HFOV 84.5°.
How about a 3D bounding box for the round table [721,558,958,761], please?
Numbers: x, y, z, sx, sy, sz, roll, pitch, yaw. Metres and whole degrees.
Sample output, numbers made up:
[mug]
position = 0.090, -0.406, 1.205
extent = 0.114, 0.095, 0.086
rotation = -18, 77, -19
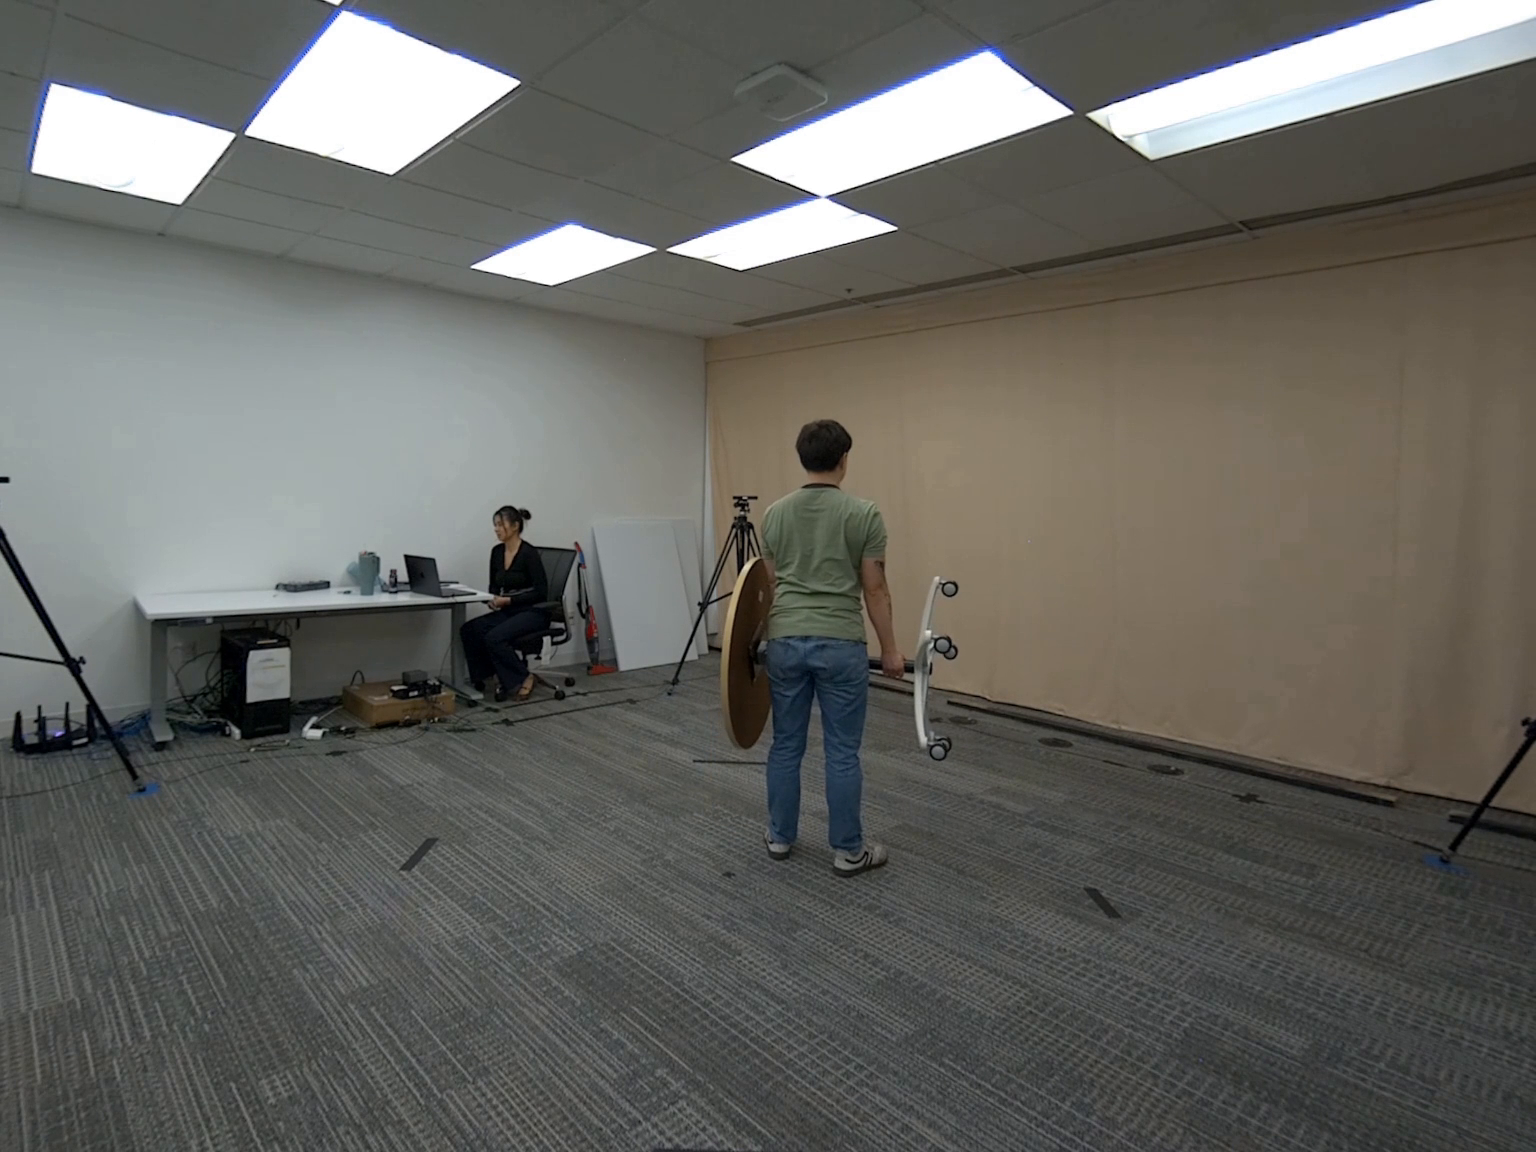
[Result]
[round table]
position = 0.308, 0.339, 3.285
extent = 0.805, 0.762, 0.756
rotation = 4, 5, 16
